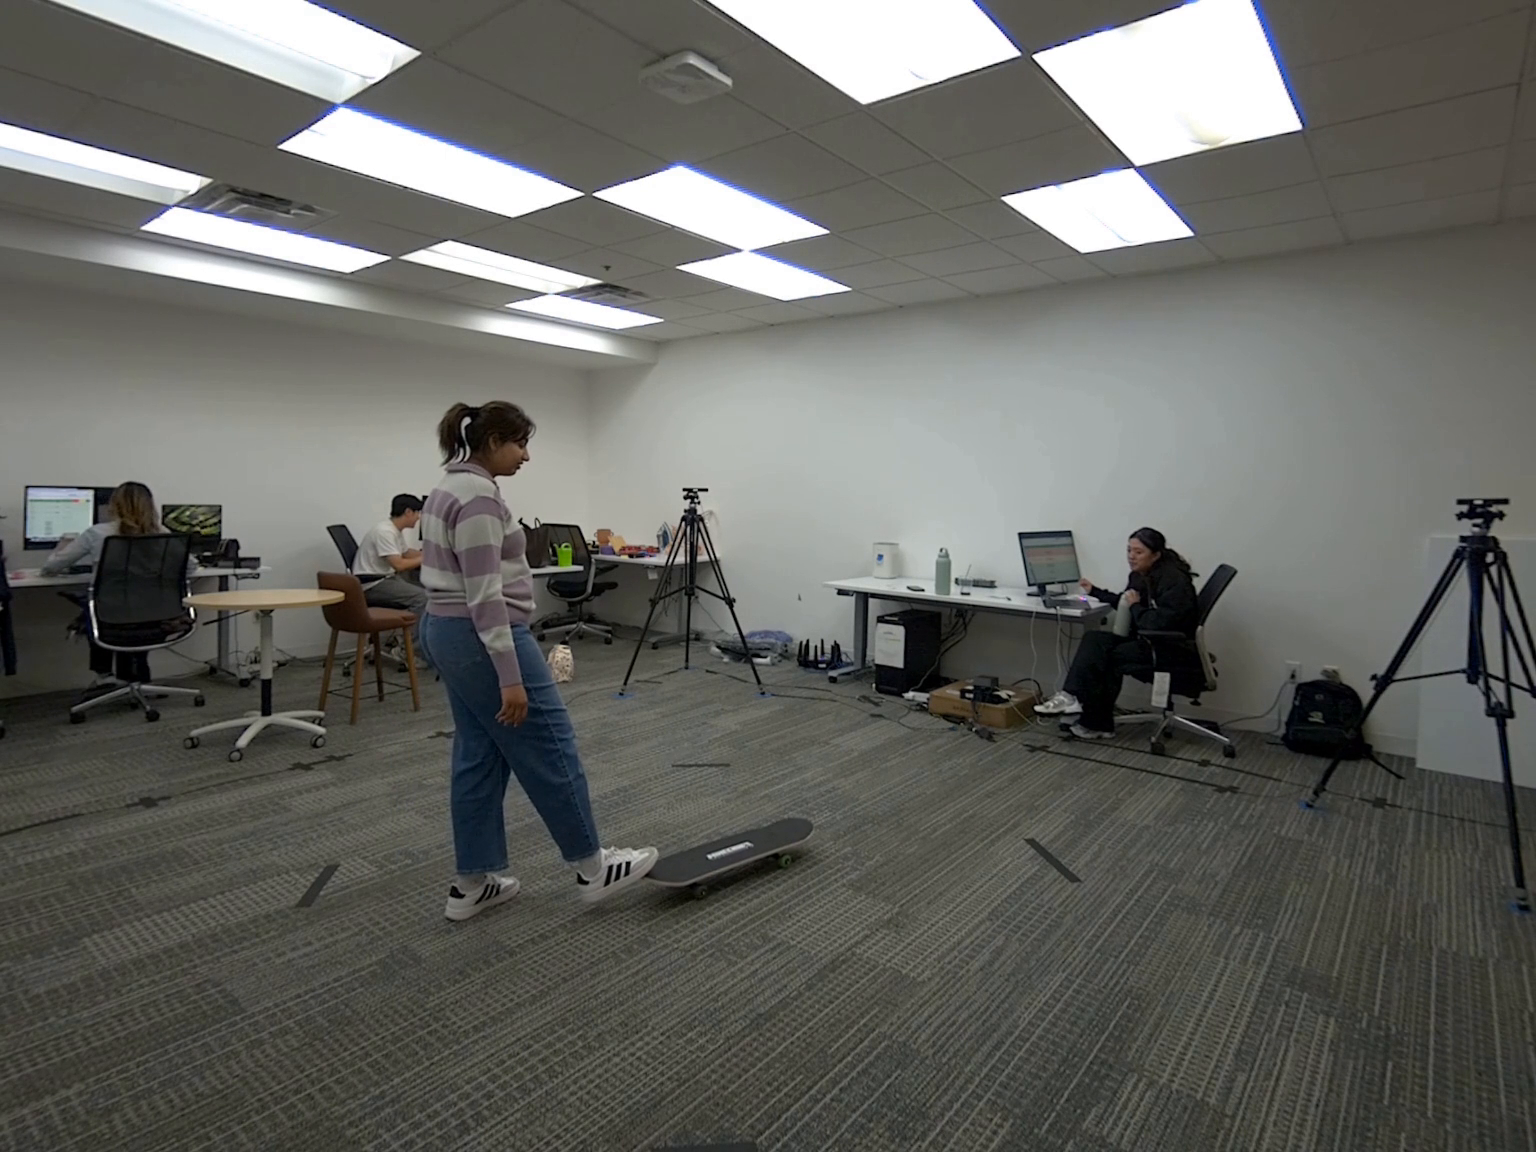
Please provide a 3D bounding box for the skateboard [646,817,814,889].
[{"bbox_3d":[-0.142,1.024,3.066,0.762,0.110,0.200,-5,8,-41],"label":"skateboard"}]
